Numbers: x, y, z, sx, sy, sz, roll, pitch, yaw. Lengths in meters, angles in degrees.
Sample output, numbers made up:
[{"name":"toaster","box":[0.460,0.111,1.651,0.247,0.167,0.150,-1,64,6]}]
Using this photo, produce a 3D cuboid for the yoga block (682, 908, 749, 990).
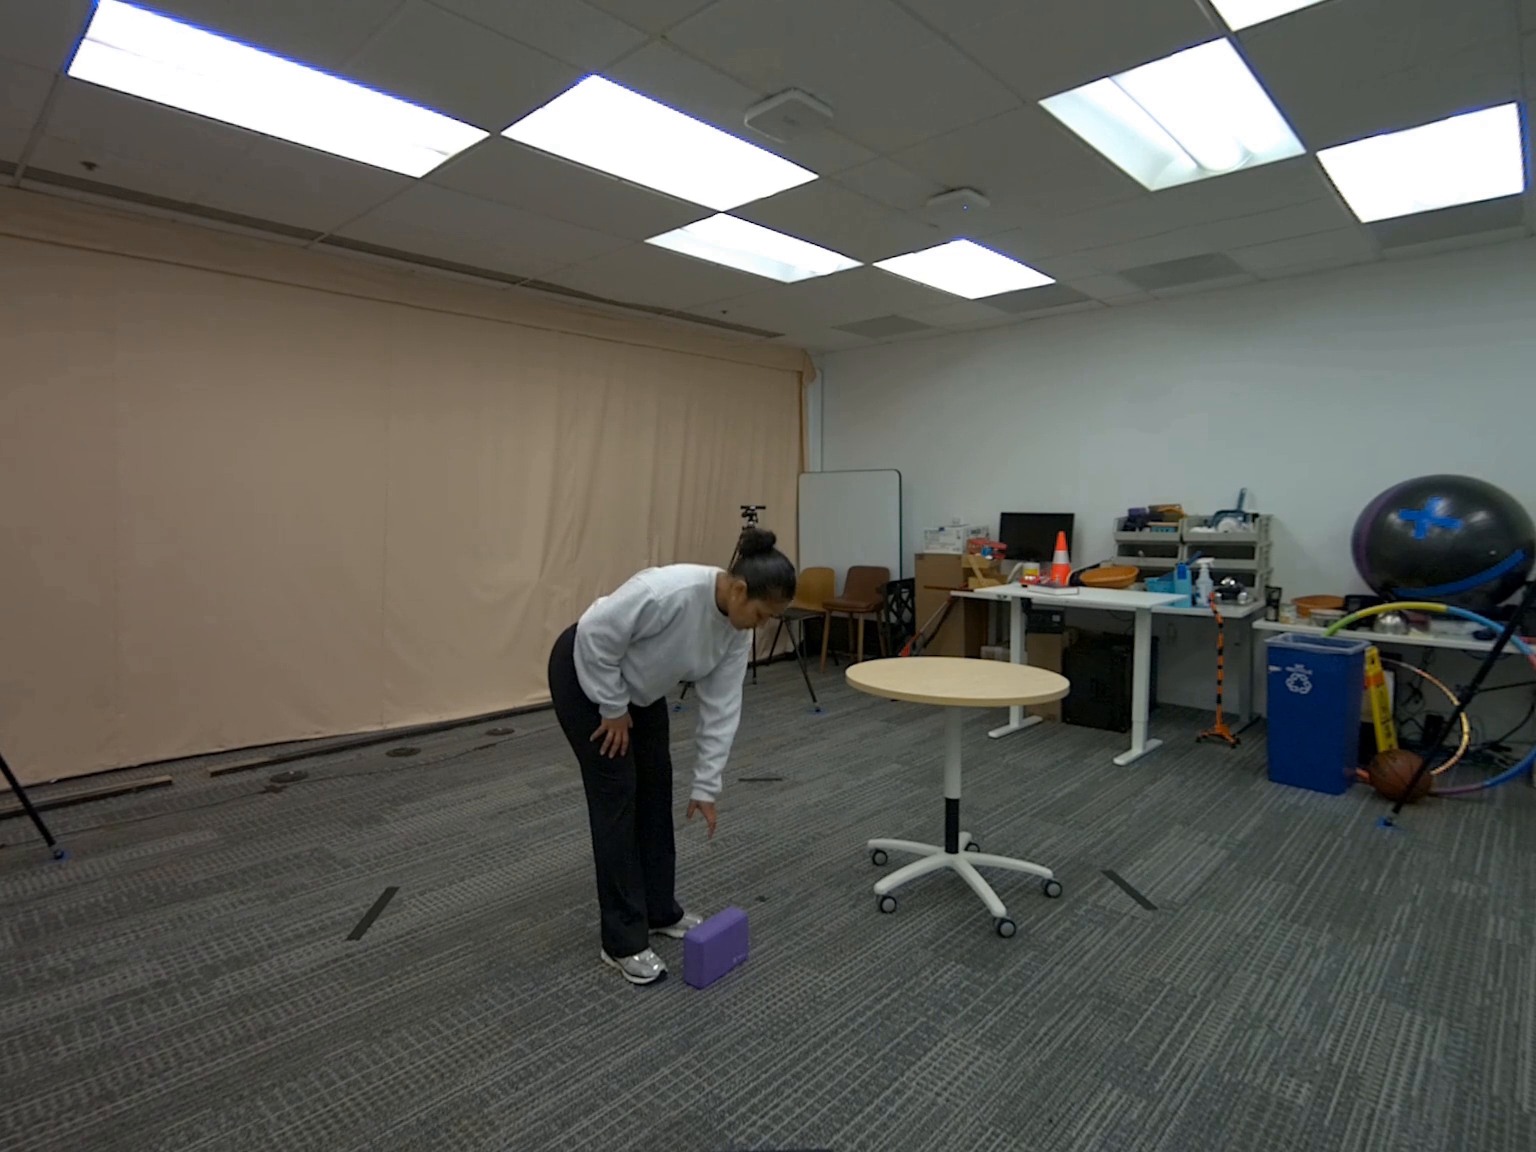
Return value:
[{"name":"yoga block","box":[-0.156,1.103,2.518,0.079,0.148,0.223,5,7,37]}]
